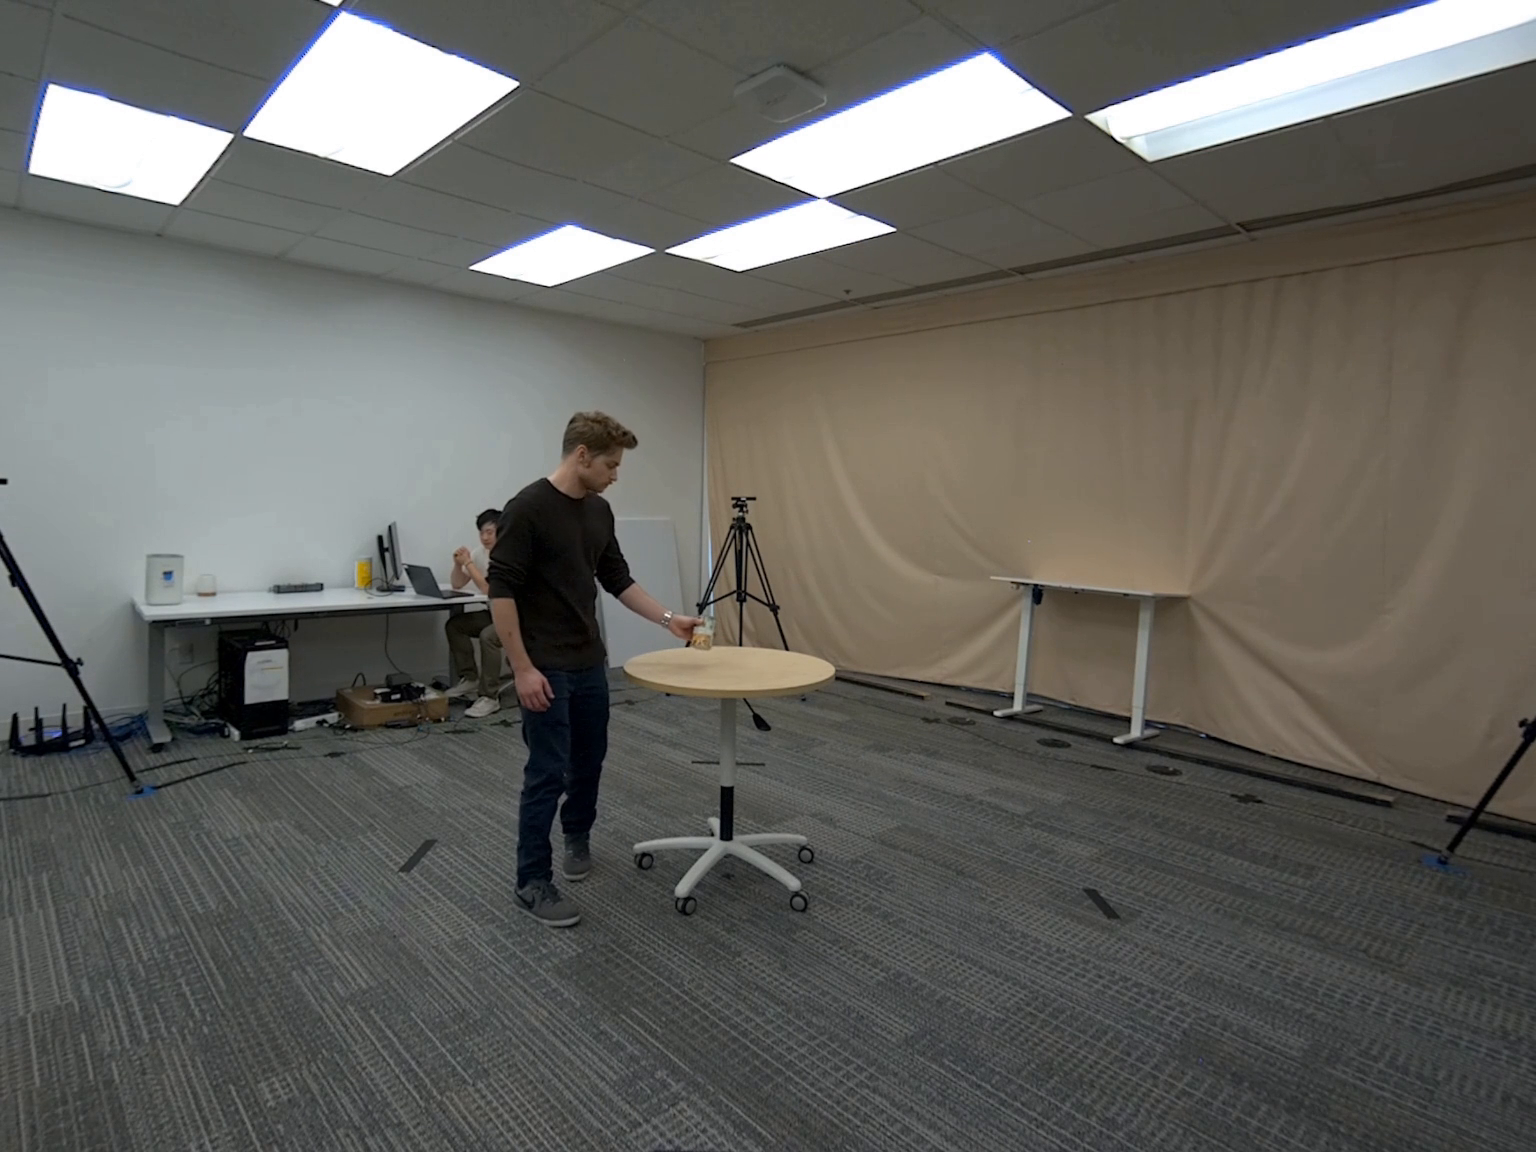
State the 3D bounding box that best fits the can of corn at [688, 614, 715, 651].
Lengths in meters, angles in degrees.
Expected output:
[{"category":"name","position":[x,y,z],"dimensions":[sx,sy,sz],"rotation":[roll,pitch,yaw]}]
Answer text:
[{"category":"can of corn","position":[-0.252,0.207,3.026],"dimensions":[0.074,0.112,0.073],"rotation":[0,-14,-1]}]
